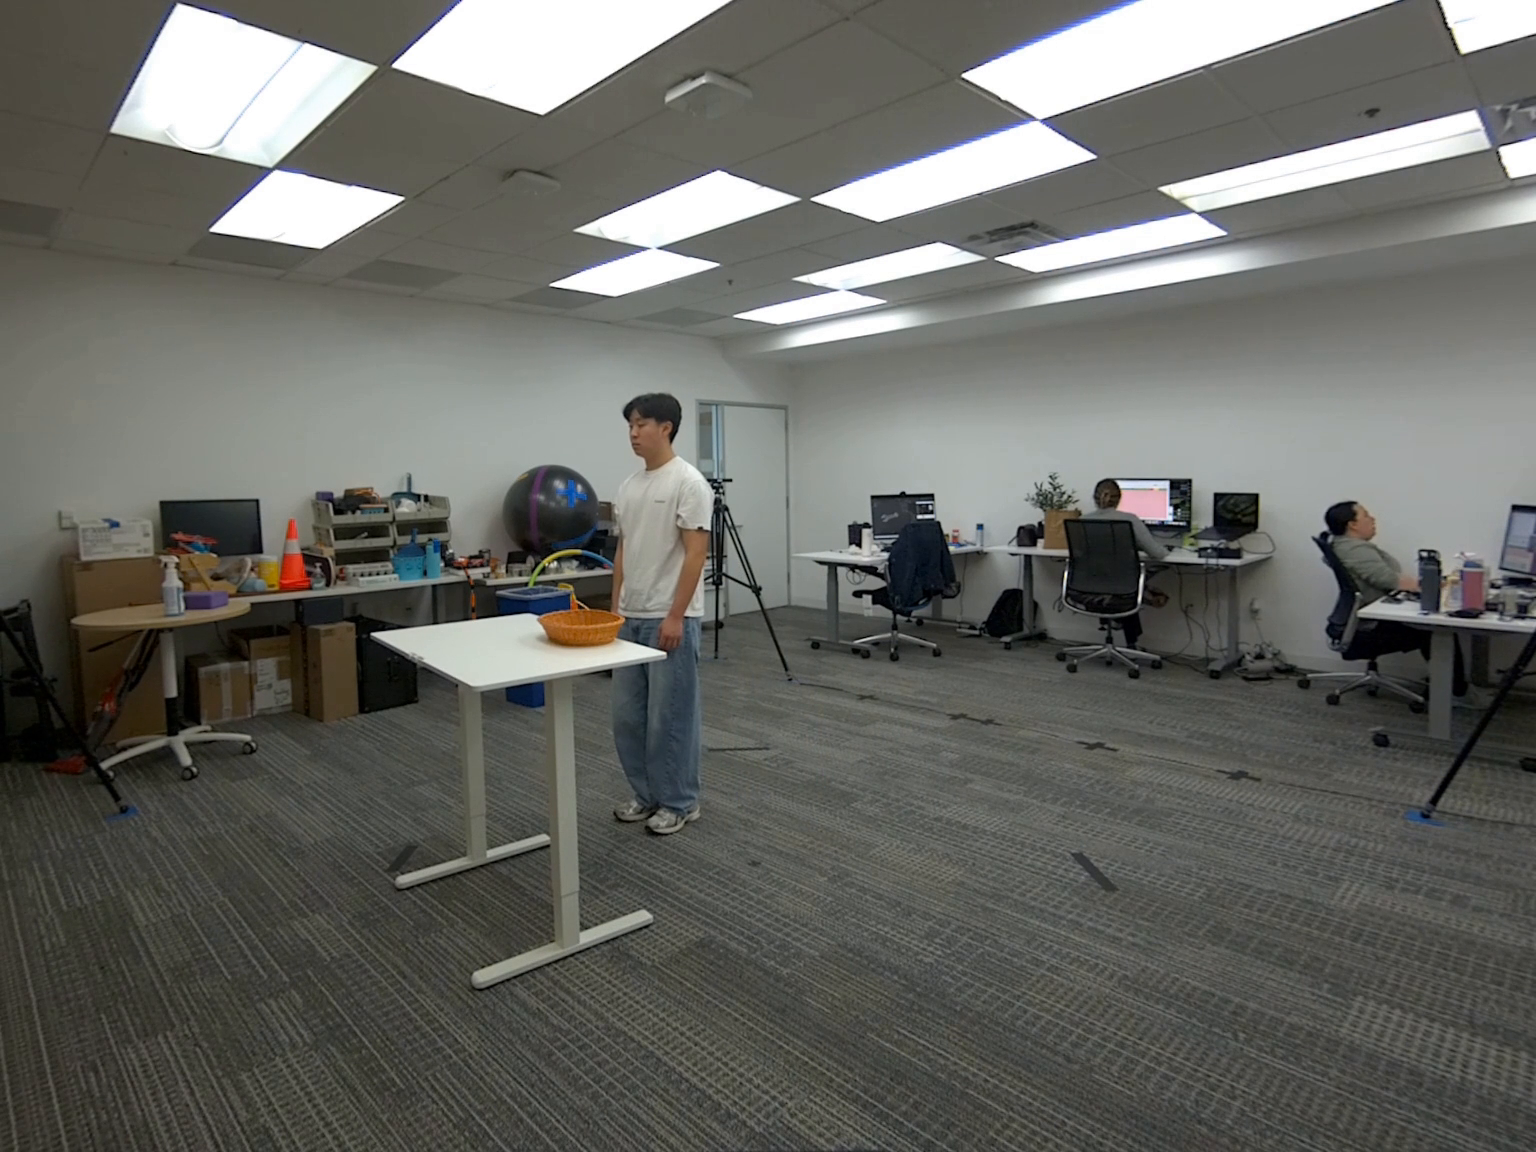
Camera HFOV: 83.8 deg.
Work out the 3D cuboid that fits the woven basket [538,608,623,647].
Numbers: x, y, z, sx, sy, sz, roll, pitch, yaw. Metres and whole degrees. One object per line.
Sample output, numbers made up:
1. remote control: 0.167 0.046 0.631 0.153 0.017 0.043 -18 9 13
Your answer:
1. woven basket: -0.640 0.177 2.825 0.247 0.073 0.360 -5 9 -29
